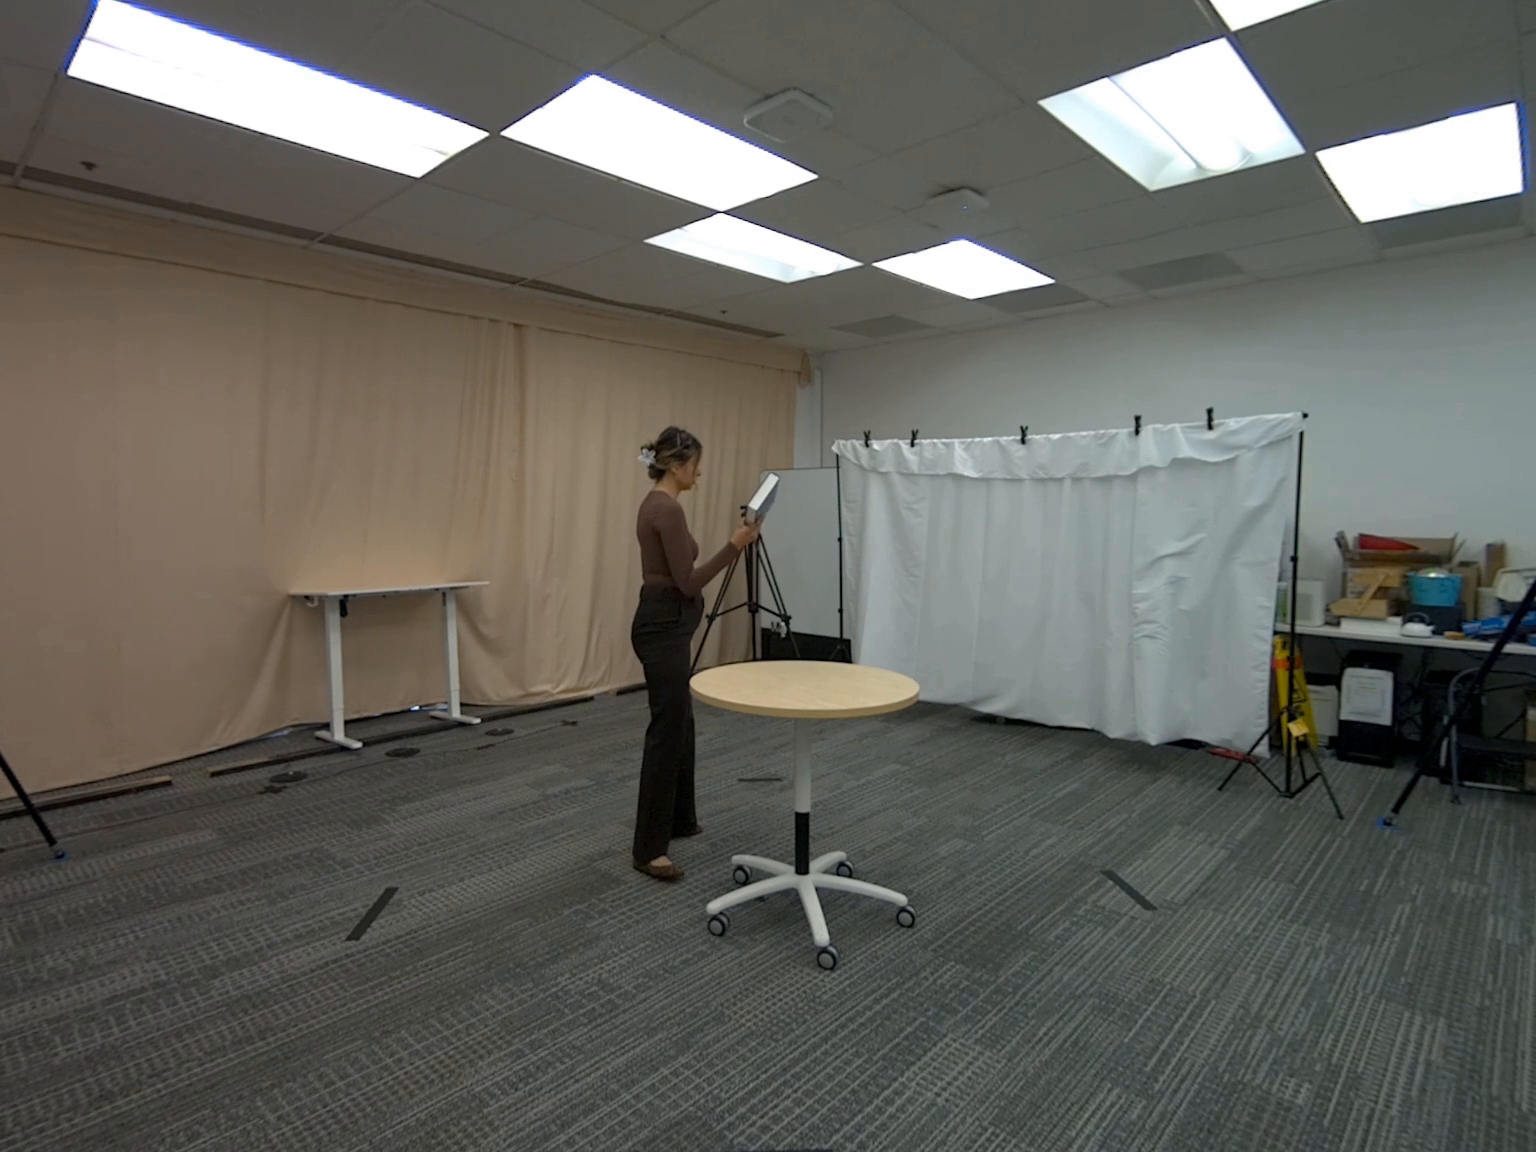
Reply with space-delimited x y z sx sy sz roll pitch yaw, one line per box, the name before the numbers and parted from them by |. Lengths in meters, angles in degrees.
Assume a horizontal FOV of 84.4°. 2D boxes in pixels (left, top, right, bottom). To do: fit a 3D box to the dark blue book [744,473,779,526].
dark blue book | -0.023 -0.270 3.152 0.045 0.163 0.243 32 -17 4
